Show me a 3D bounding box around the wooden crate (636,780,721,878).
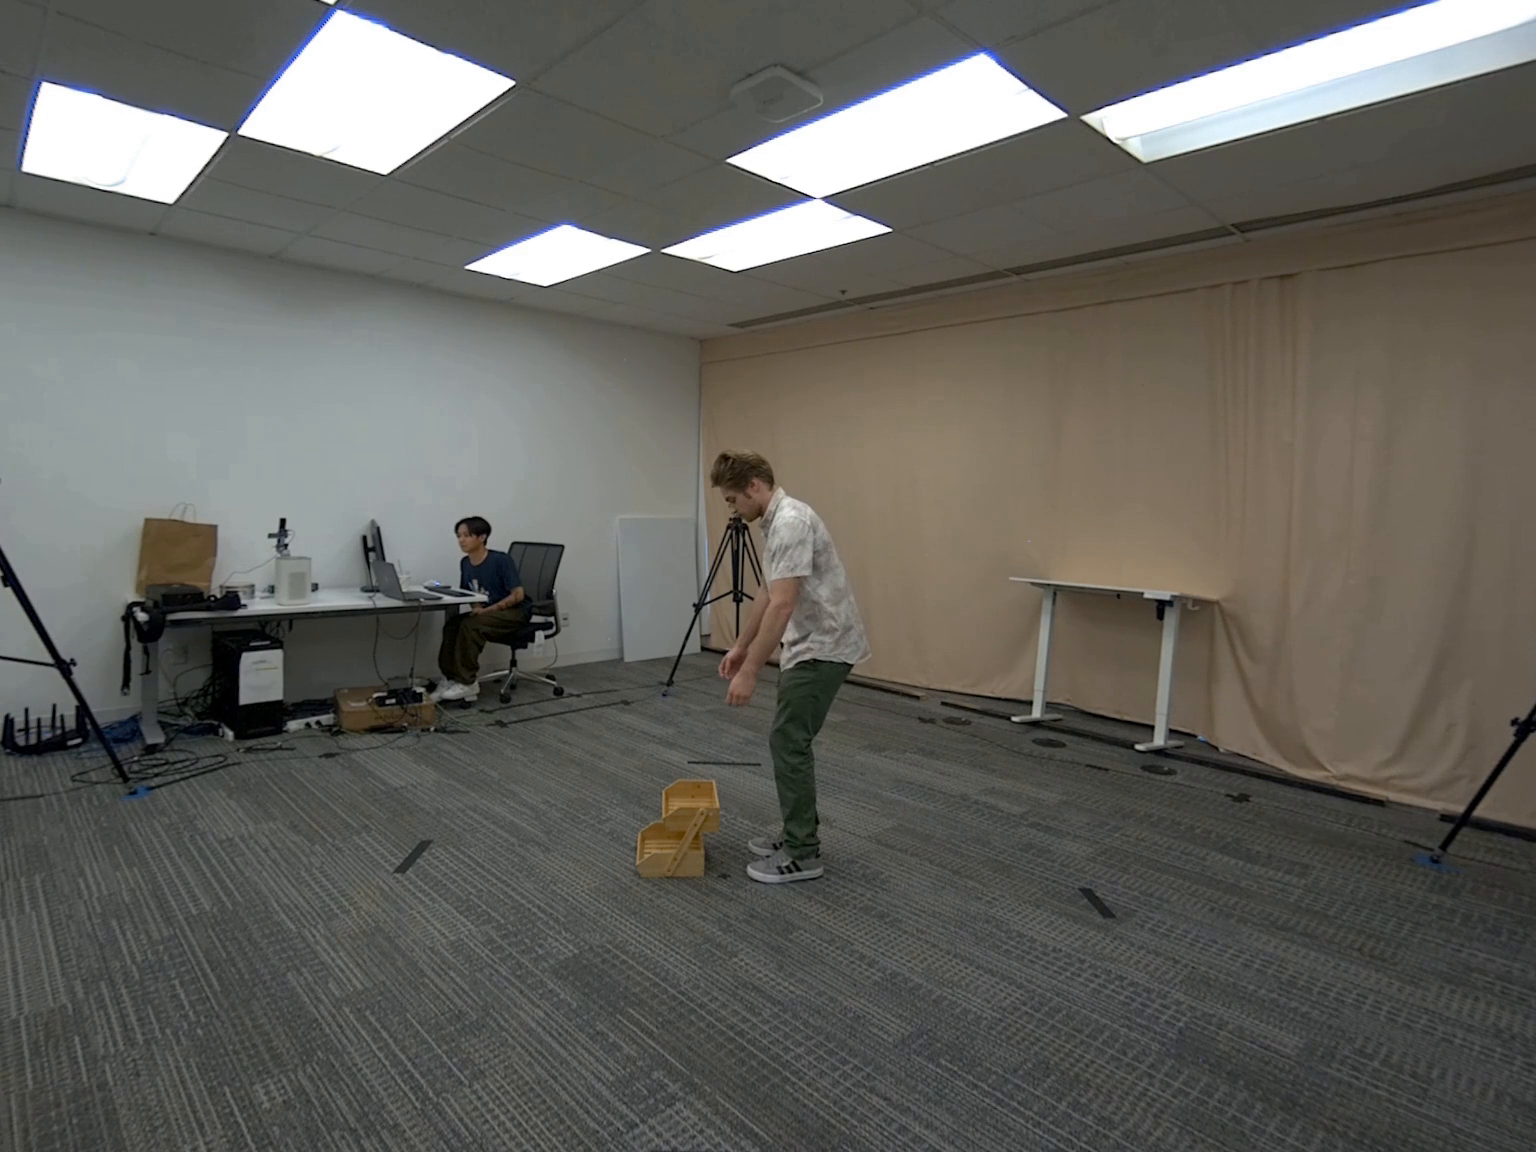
[{"bbox_3d":[-0.353,0.955,3.231,0.300,0.272,0.327,1,4,-6],"label":"wooden crate"}]
